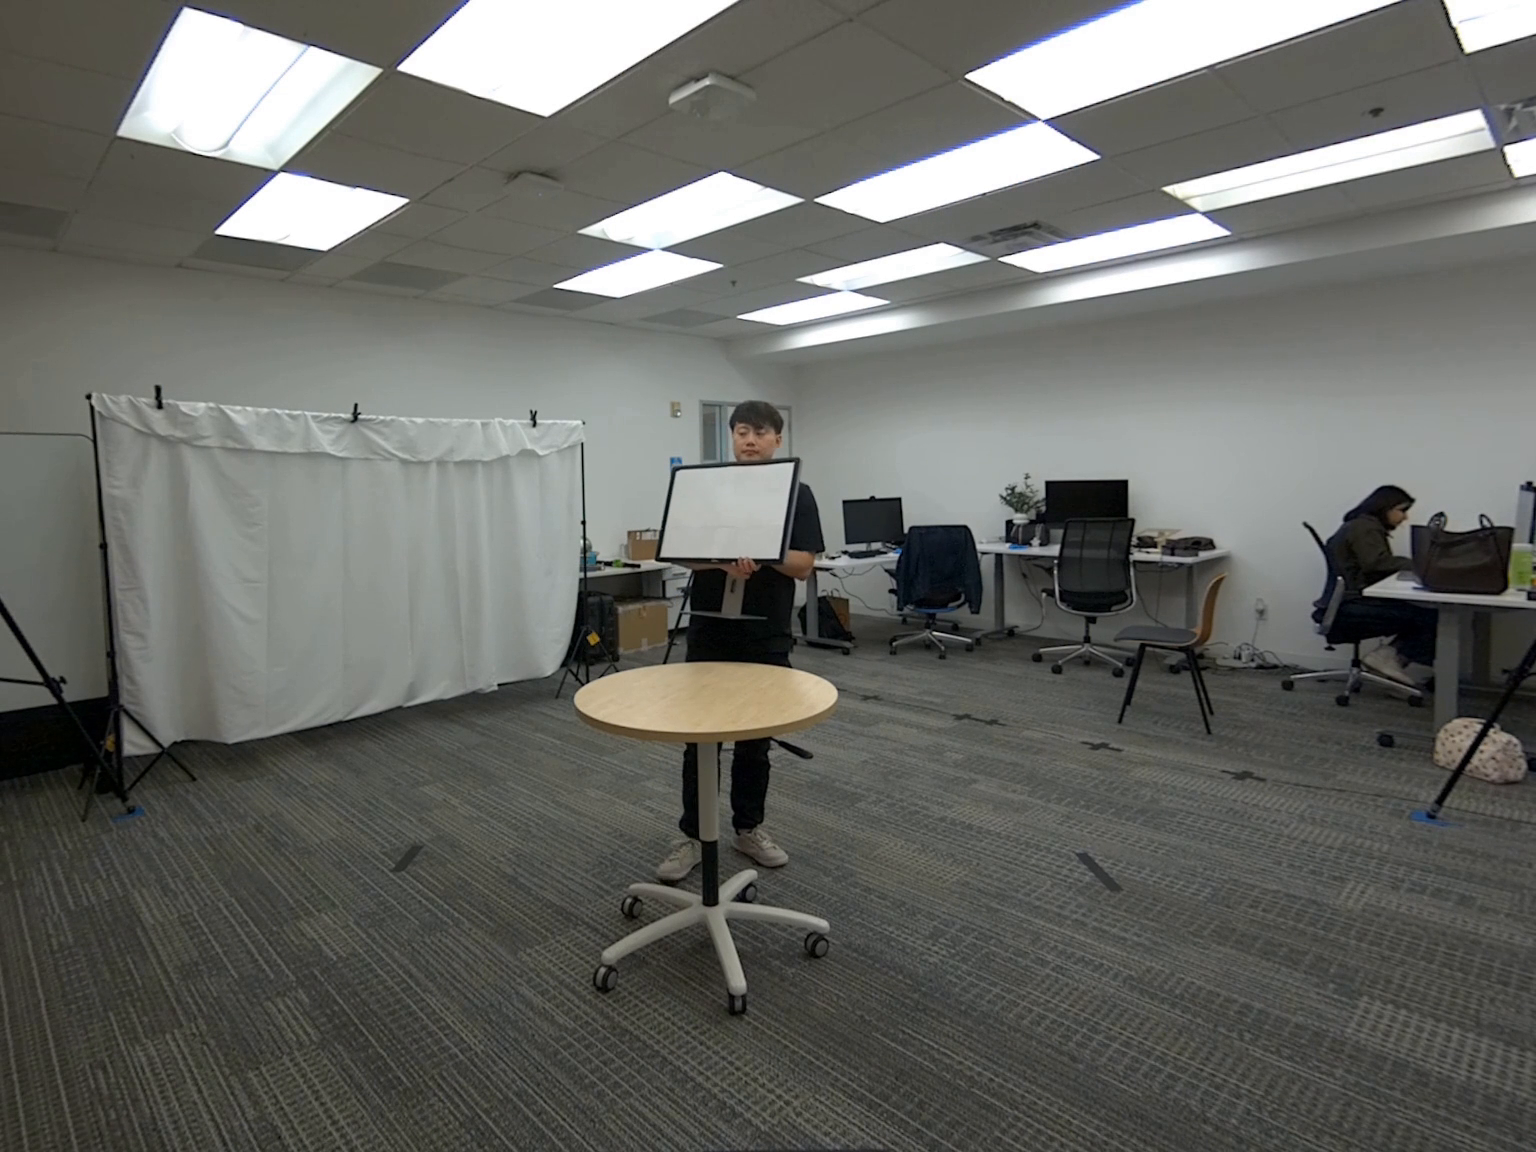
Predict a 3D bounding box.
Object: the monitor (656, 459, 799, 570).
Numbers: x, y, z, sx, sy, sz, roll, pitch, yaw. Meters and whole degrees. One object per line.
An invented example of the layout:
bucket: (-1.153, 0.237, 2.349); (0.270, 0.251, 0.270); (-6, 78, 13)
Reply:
monitor: (-0.134, -0.127, 2.960); (0.554, 0.524, 0.181); (0, -5, 38)
